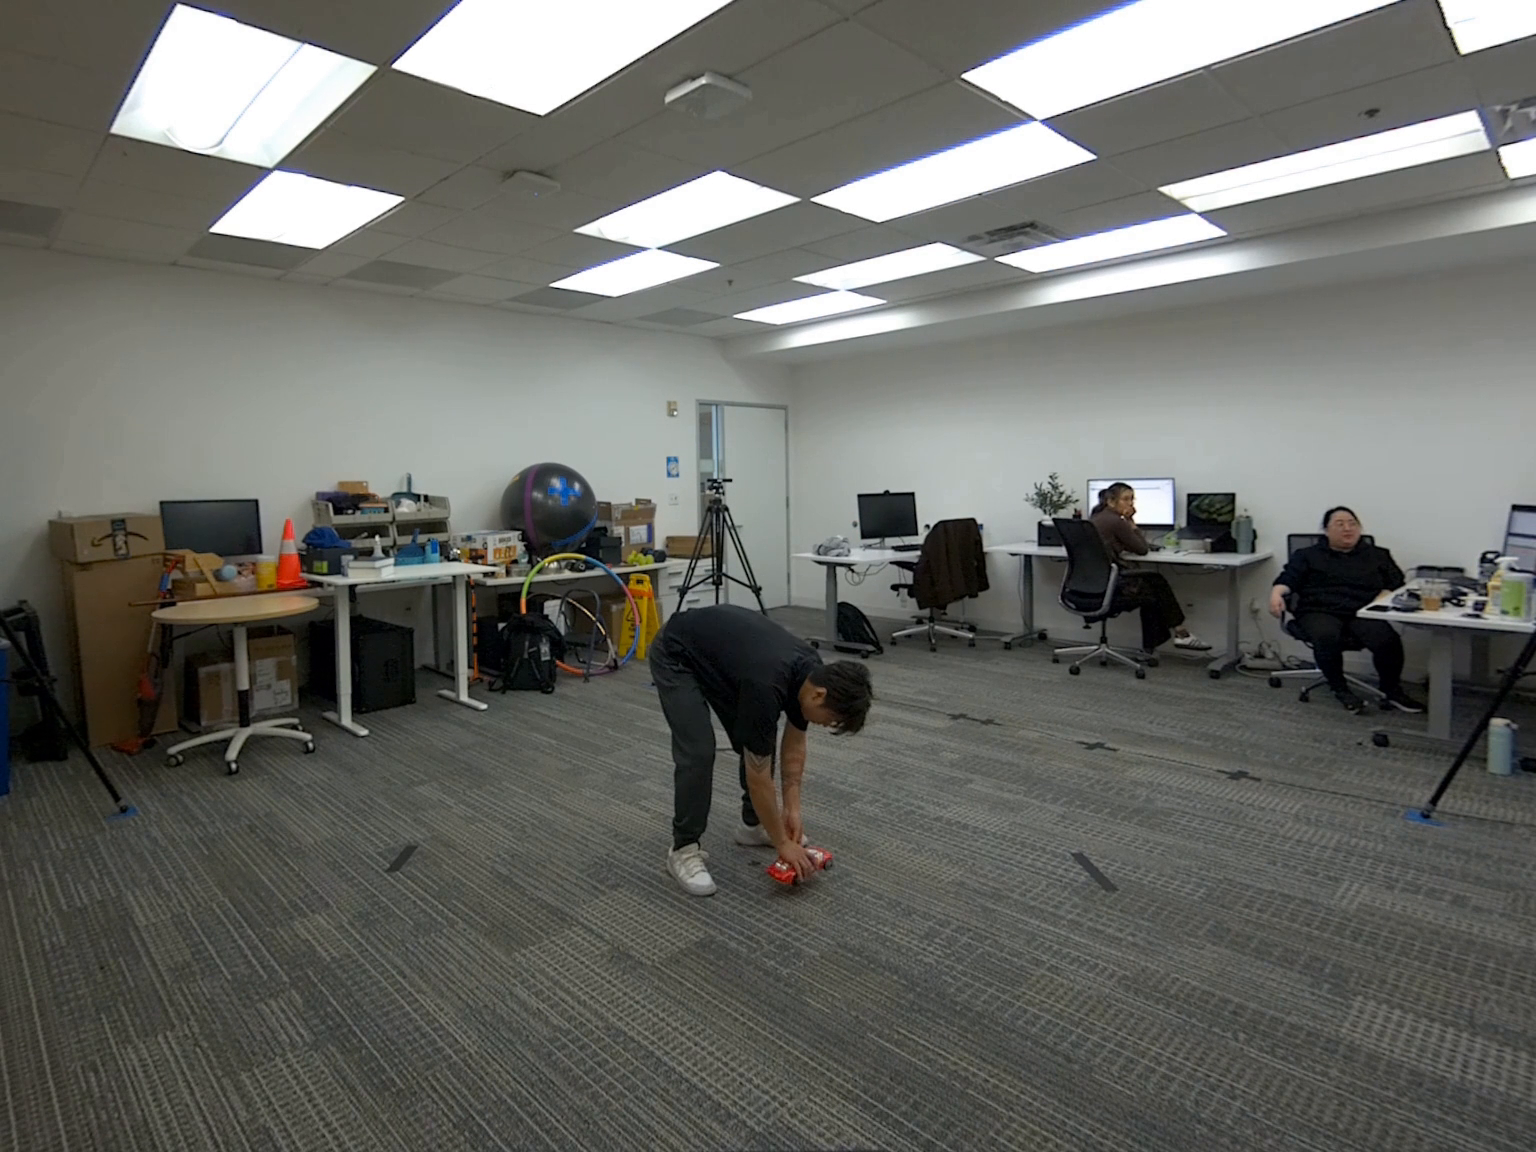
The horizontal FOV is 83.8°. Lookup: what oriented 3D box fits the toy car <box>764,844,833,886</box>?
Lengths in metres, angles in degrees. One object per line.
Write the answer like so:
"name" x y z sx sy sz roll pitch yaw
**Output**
"toy car" 0.106 0.987 2.914 0.247 0.083 0.134 1 4 -40
